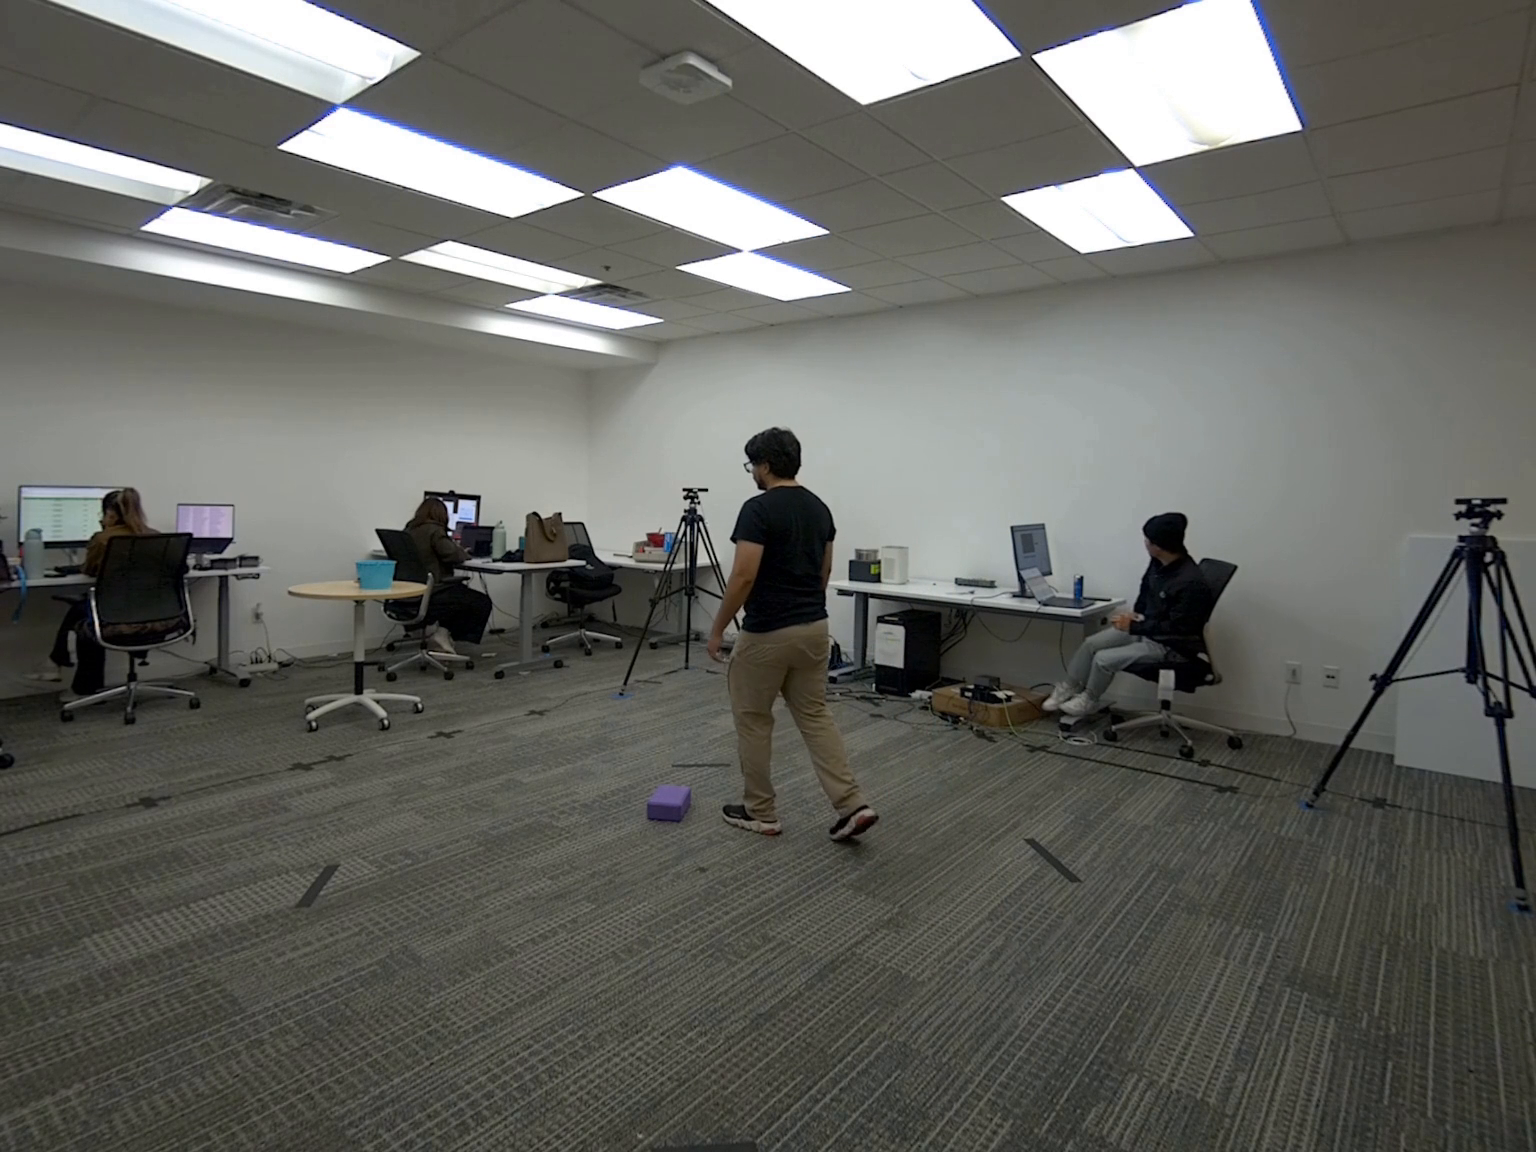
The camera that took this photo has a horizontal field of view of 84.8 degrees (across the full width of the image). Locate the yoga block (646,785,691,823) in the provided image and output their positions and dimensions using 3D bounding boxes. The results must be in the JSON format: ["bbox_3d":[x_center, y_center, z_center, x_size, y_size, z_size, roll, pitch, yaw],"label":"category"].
[{"bbox_3d":[-0.436,0.974,3.669,0.151,0.076,0.228,3,7,9],"label":"yoga block"}]
